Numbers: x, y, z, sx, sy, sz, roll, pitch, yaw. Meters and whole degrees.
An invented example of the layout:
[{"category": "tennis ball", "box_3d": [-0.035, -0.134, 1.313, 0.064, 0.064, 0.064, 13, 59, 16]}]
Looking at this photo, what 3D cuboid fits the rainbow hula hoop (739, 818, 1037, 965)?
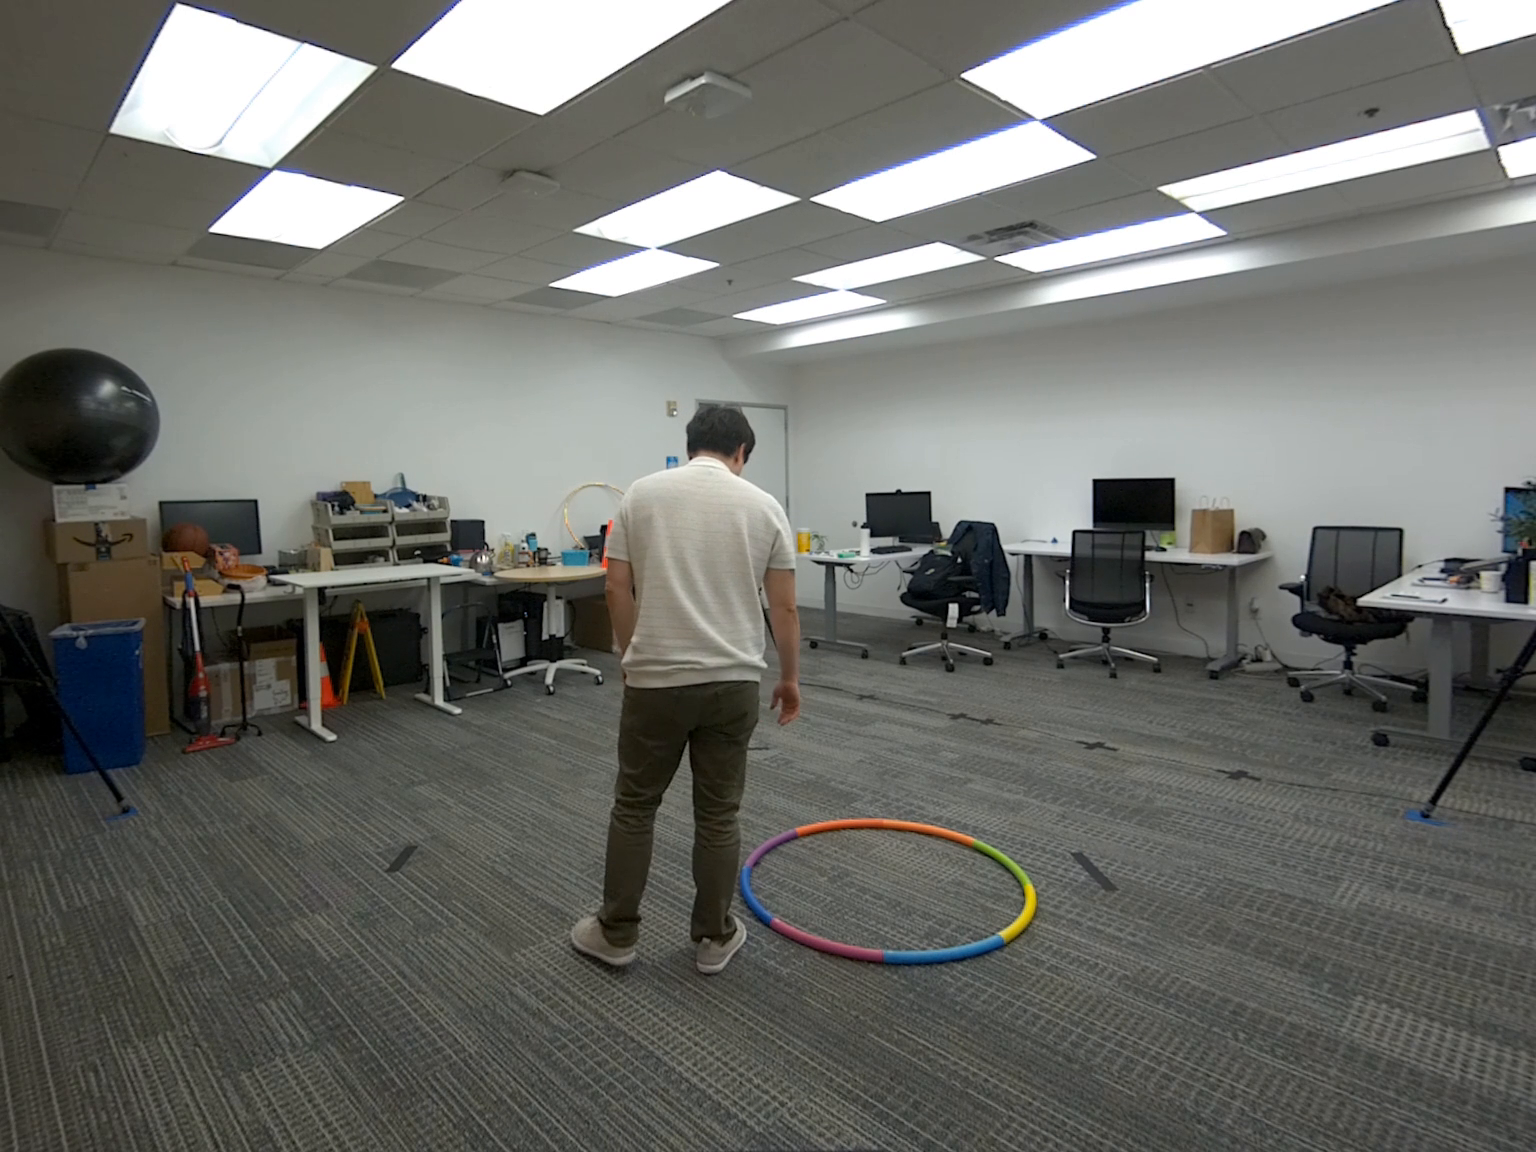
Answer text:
[{"category": "rainbow hula hoop", "box_3d": [0.392, 1.026, 2.934, 0.978, 0.035, 0.984, -2, 6, -2]}]
